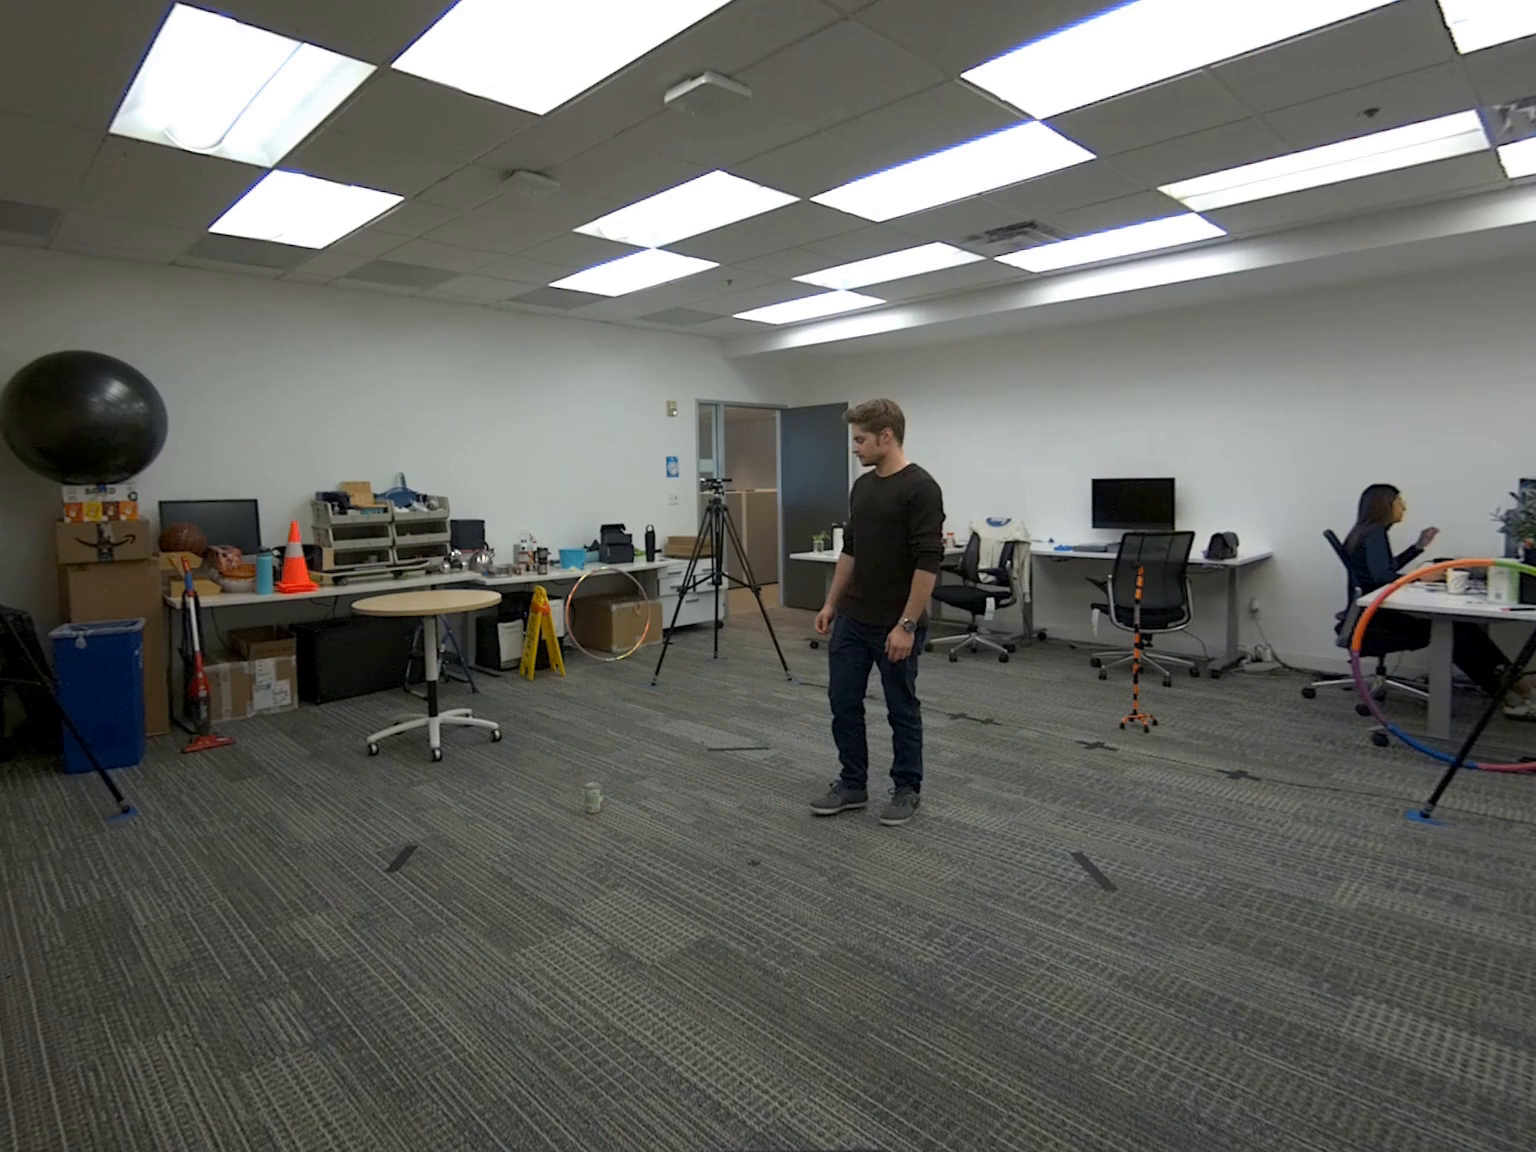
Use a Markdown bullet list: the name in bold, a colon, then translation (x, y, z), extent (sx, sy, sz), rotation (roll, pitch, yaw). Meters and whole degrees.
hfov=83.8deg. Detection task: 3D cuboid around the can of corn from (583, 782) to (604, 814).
- **can of corn**: translation (-0.740, 0.945, 3.629), extent (0.074, 0.110, 0.075), rotation (-4, 7, -1)
